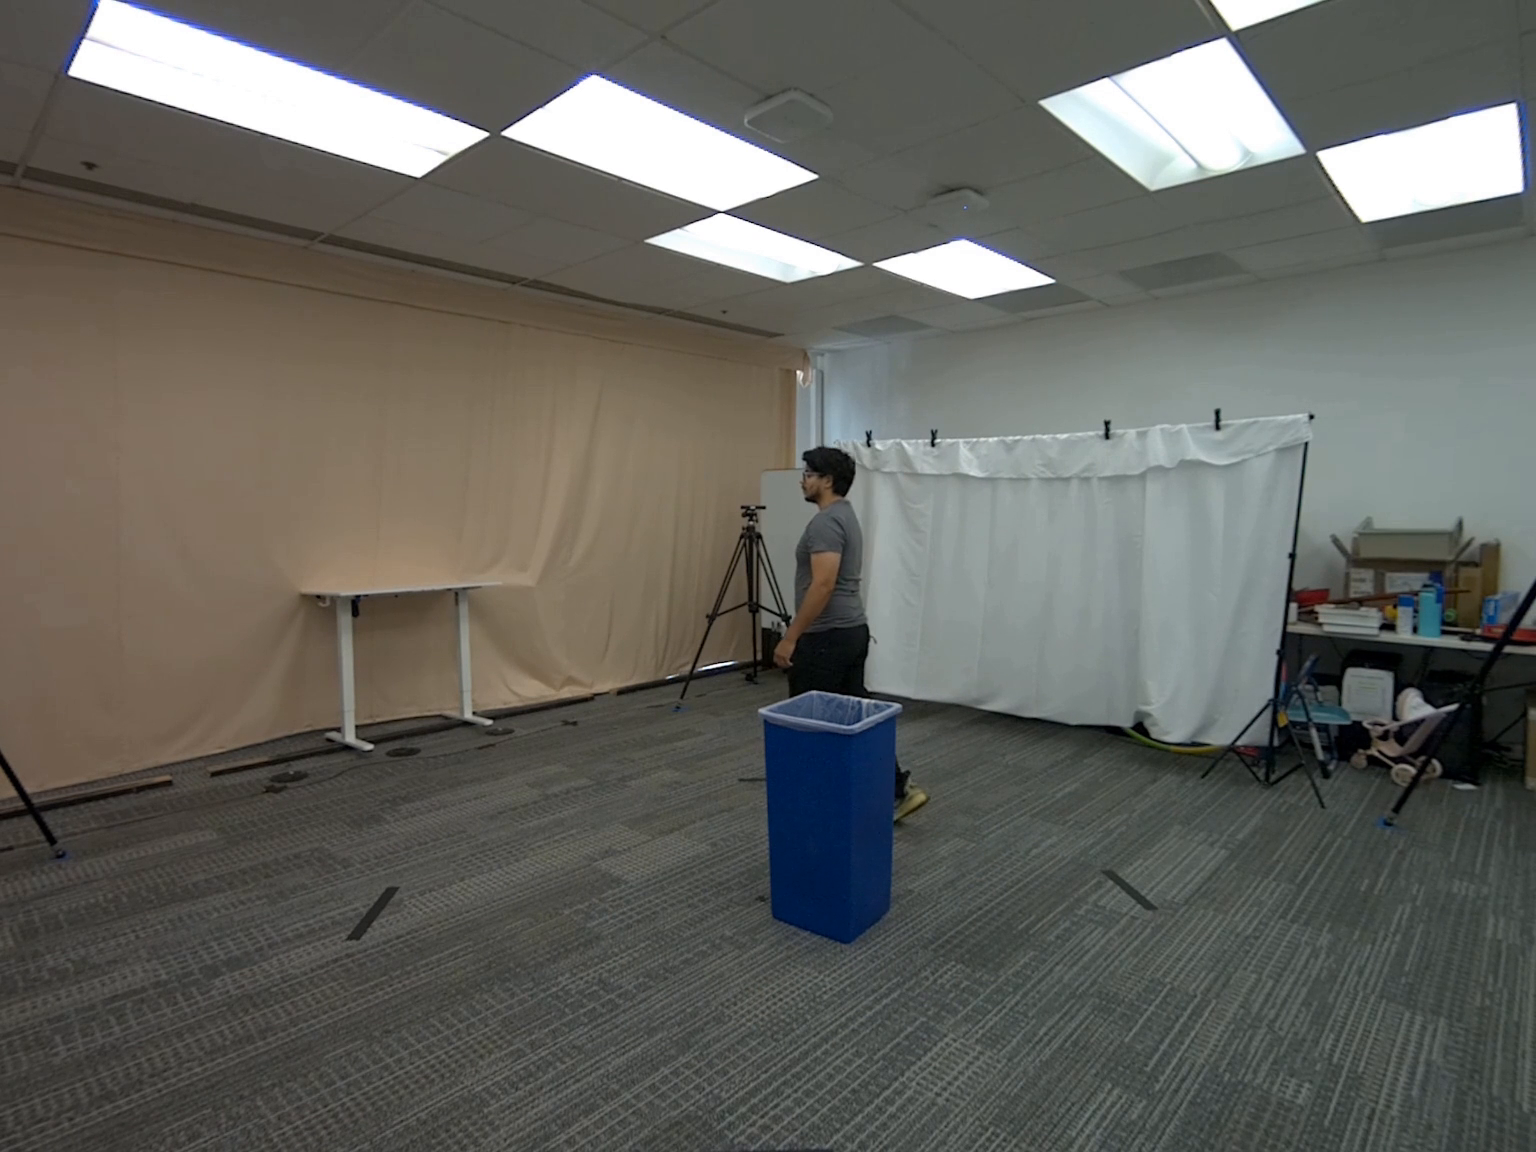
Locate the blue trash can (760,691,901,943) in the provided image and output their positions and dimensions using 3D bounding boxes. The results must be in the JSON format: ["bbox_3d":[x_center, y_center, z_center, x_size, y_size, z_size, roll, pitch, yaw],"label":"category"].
[{"bbox_3d":[0.212,0.795,2.847,0.390,0.712,0.363,2,4,36],"label":"blue trash can"}]
